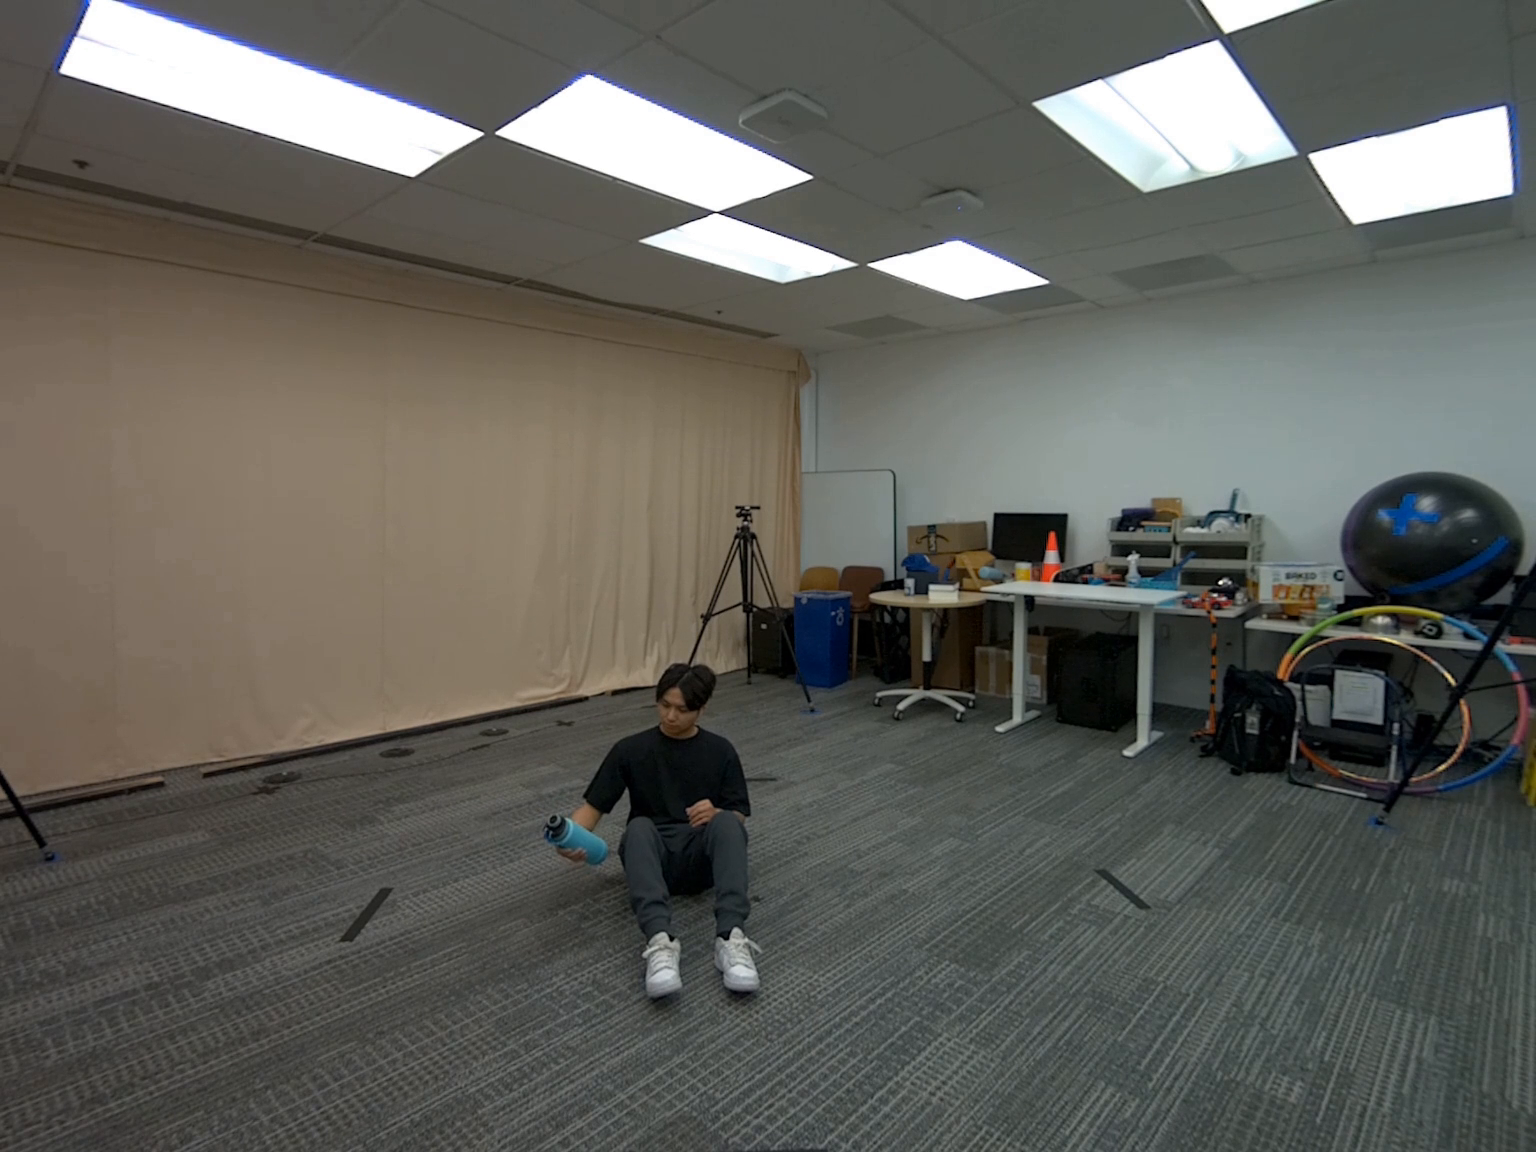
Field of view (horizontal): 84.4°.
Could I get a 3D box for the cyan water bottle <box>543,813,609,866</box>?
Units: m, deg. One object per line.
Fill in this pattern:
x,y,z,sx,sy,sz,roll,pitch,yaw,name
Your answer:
-0.643,0.879,2.800,0.095,0.092,0.274,3,-36,32,cyan water bottle
